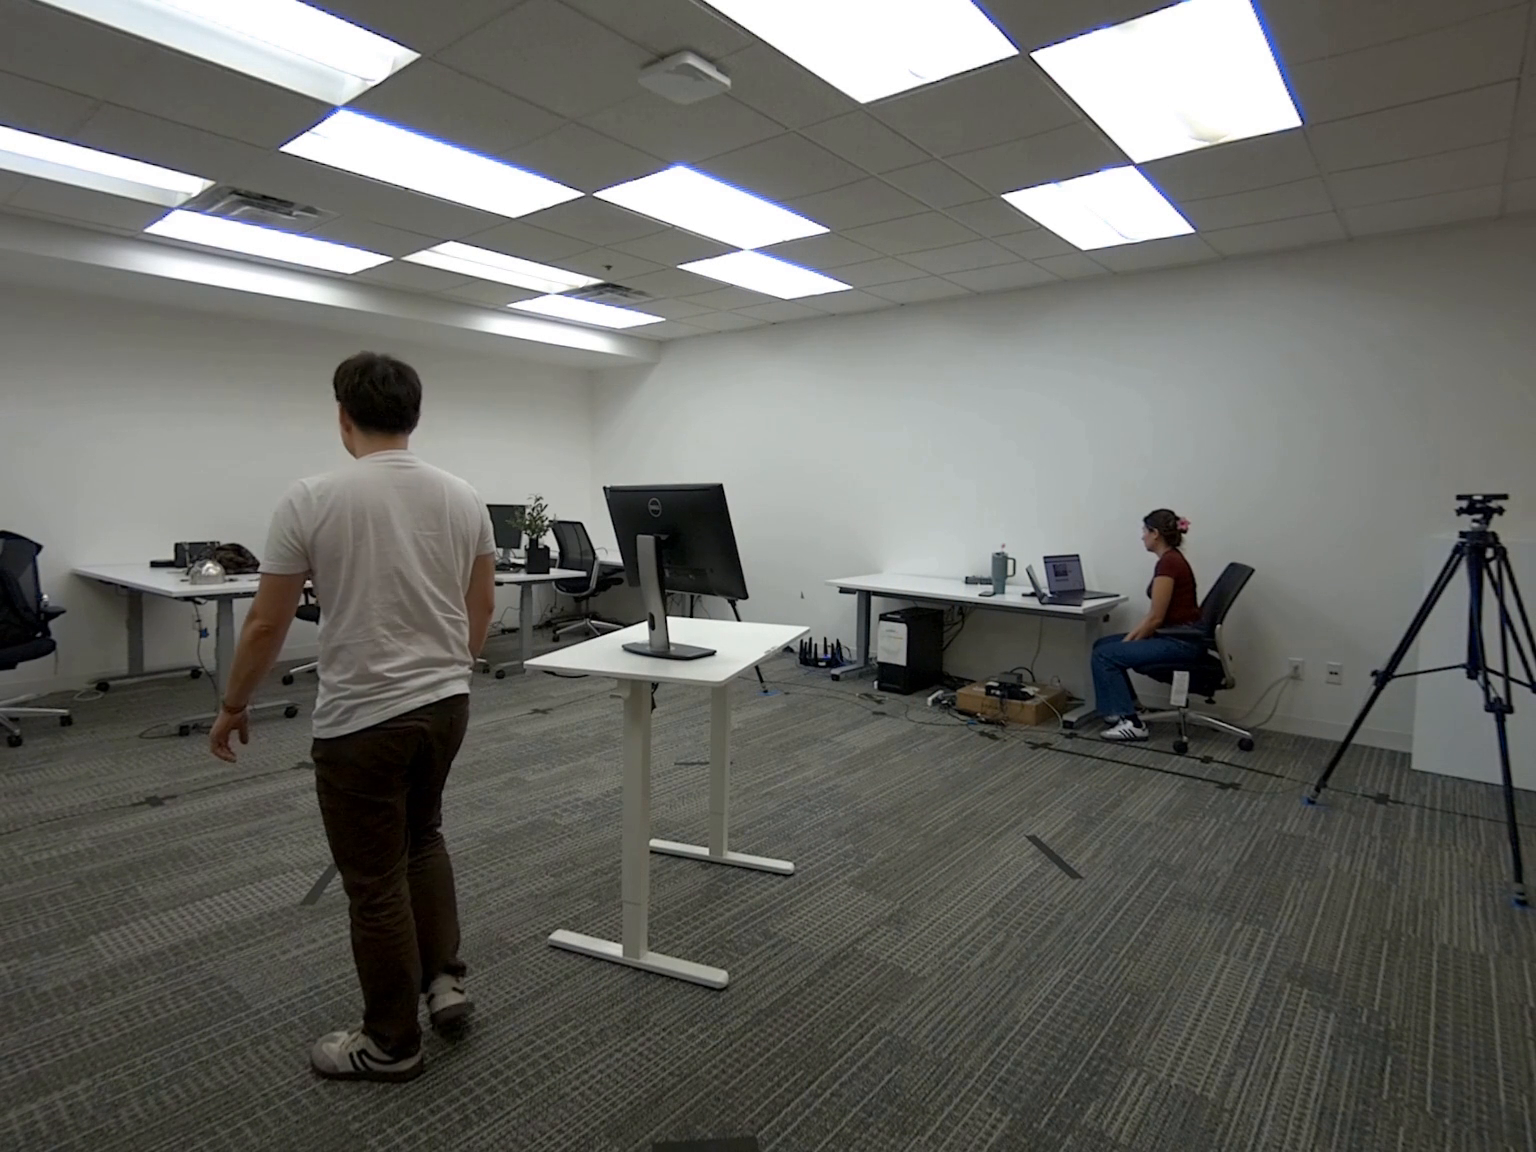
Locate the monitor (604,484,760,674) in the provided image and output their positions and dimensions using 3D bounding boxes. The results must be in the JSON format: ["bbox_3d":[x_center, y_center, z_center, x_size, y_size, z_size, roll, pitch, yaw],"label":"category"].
[{"bbox_3d":[-0.325,-0.020,2.590,0.557,0.519,0.182,4,8,41],"label":"monitor"}]
